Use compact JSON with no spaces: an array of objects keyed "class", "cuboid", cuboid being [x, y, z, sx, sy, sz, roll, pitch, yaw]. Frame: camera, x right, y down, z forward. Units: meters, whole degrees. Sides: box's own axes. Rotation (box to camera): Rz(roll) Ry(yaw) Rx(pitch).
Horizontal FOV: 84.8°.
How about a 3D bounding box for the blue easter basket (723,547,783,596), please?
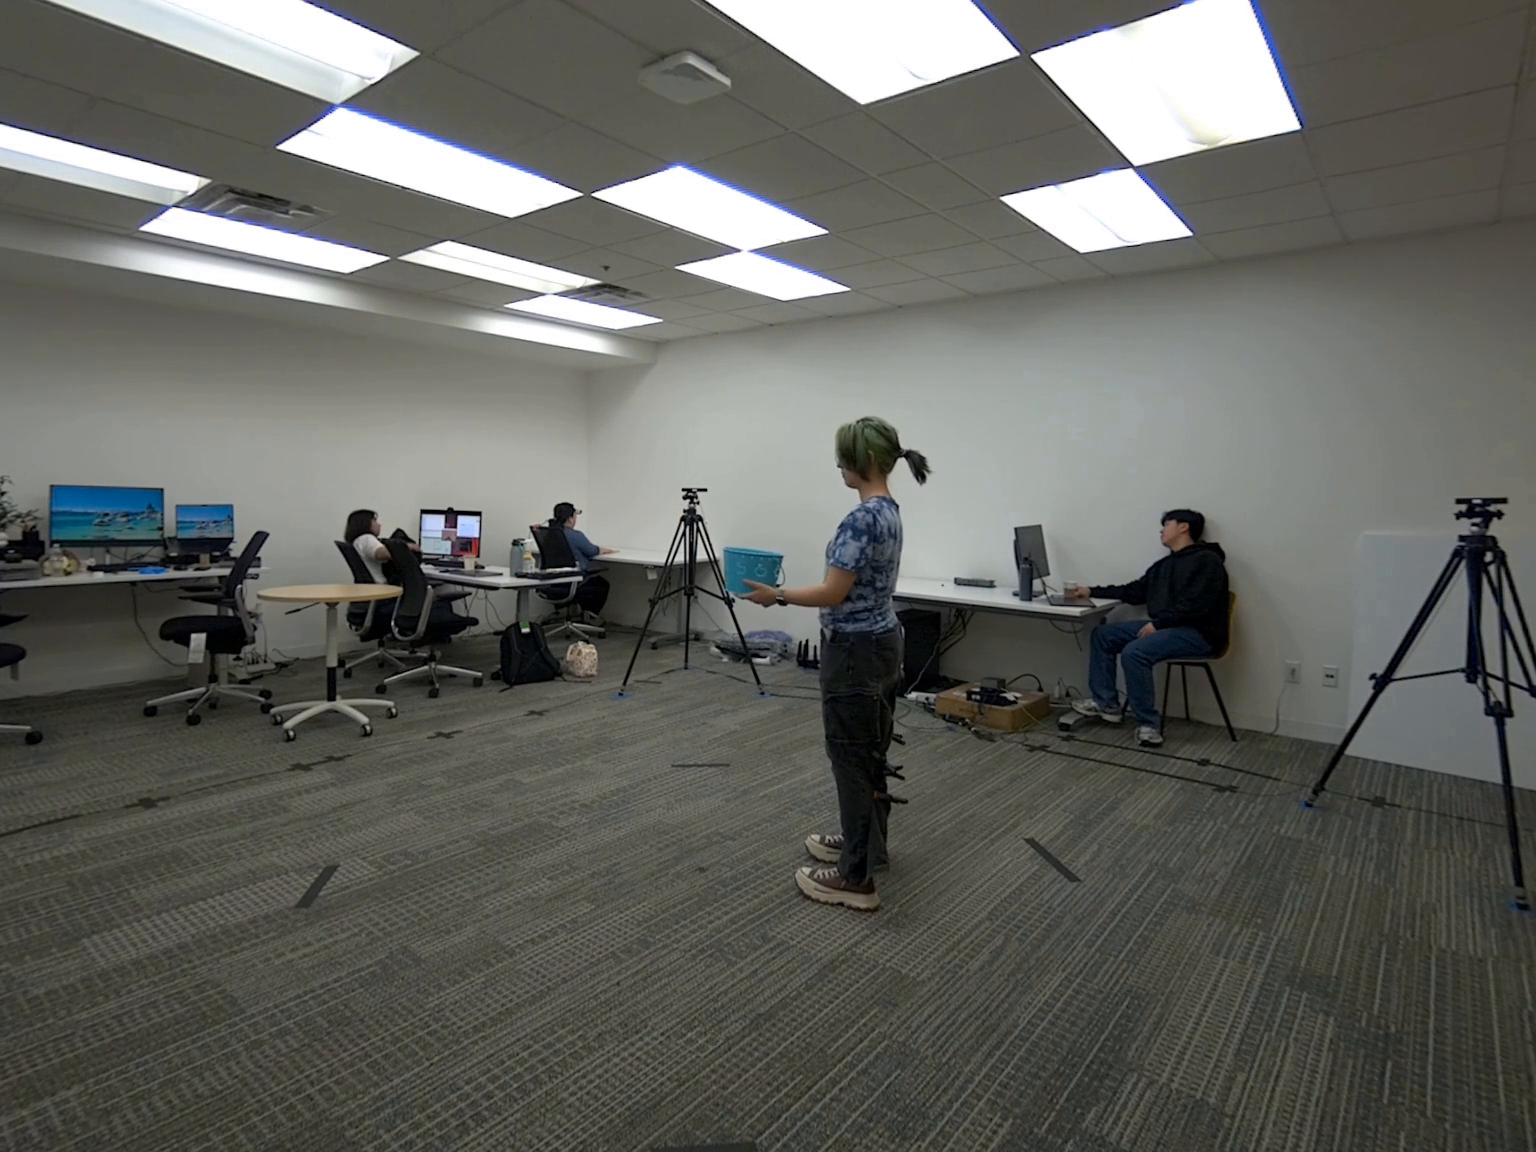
[{"class":"blue easter basket","cuboid":[-0.067,-0.013,3.119,0.243,0.155,0.244,6,4,-2]}]
